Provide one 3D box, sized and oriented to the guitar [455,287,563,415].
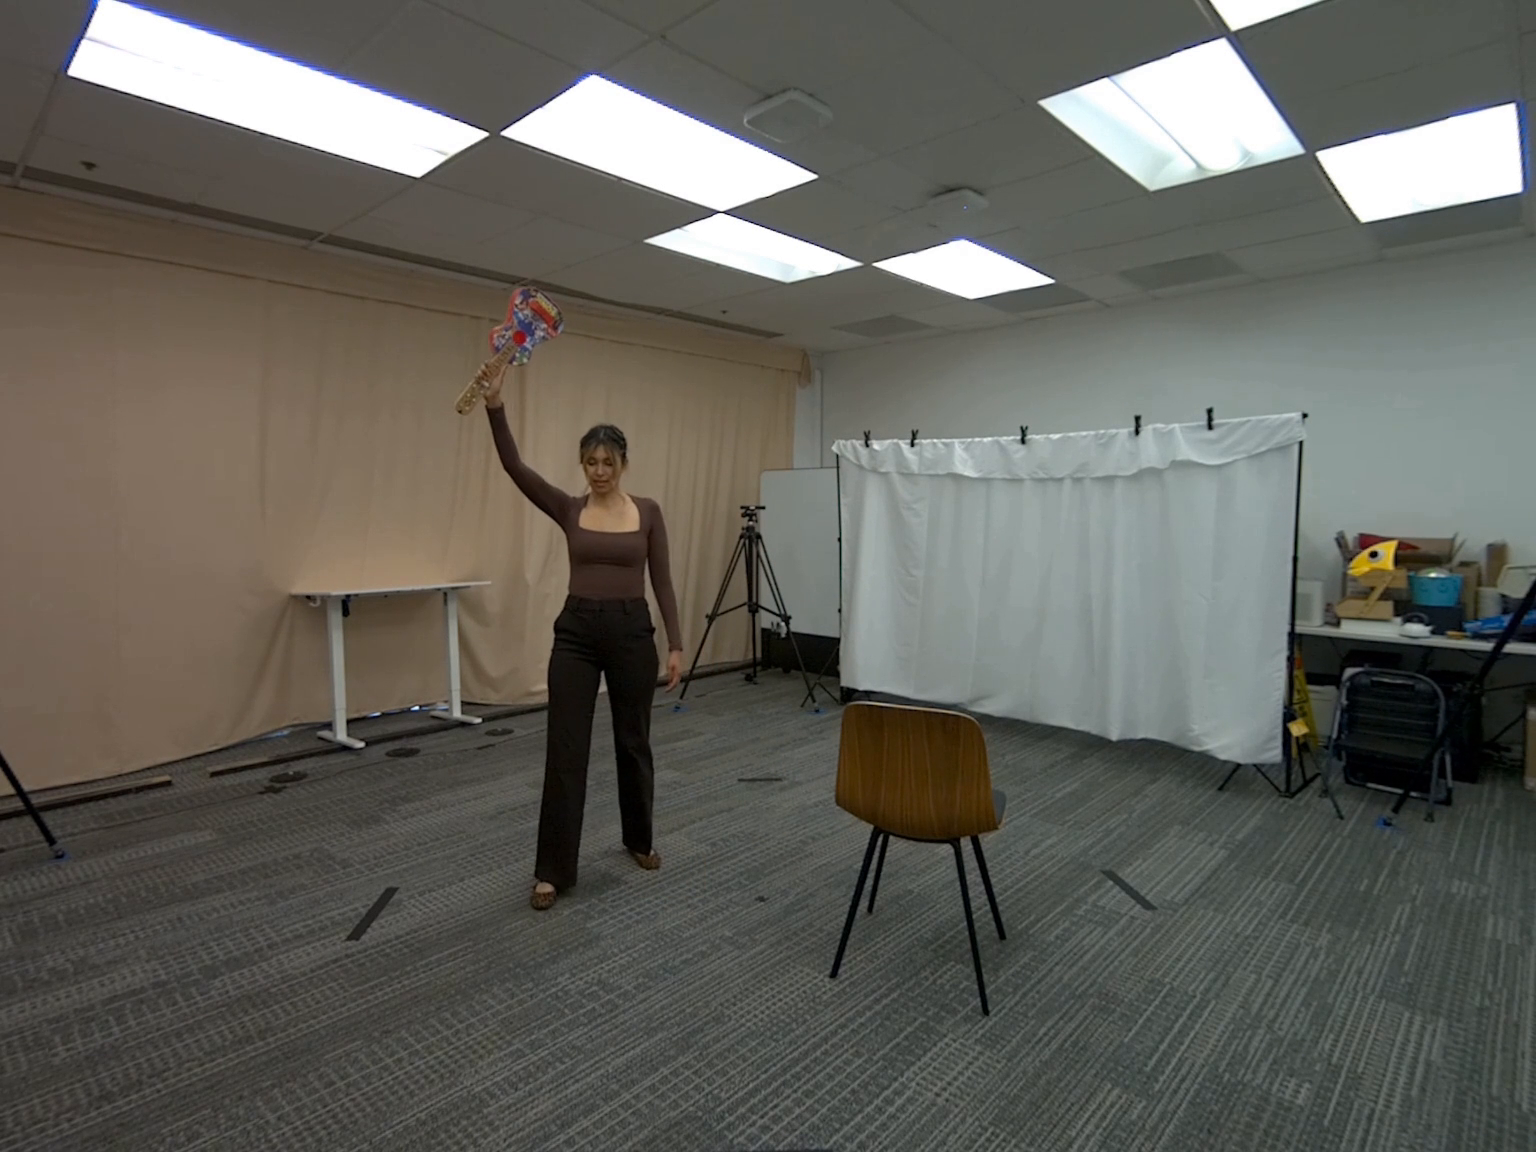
[{"bbox_3d":[-0.907,-0.768,2.840,0.187,0.496,0.073,49,-13,-29],"label":"guitar"}]
